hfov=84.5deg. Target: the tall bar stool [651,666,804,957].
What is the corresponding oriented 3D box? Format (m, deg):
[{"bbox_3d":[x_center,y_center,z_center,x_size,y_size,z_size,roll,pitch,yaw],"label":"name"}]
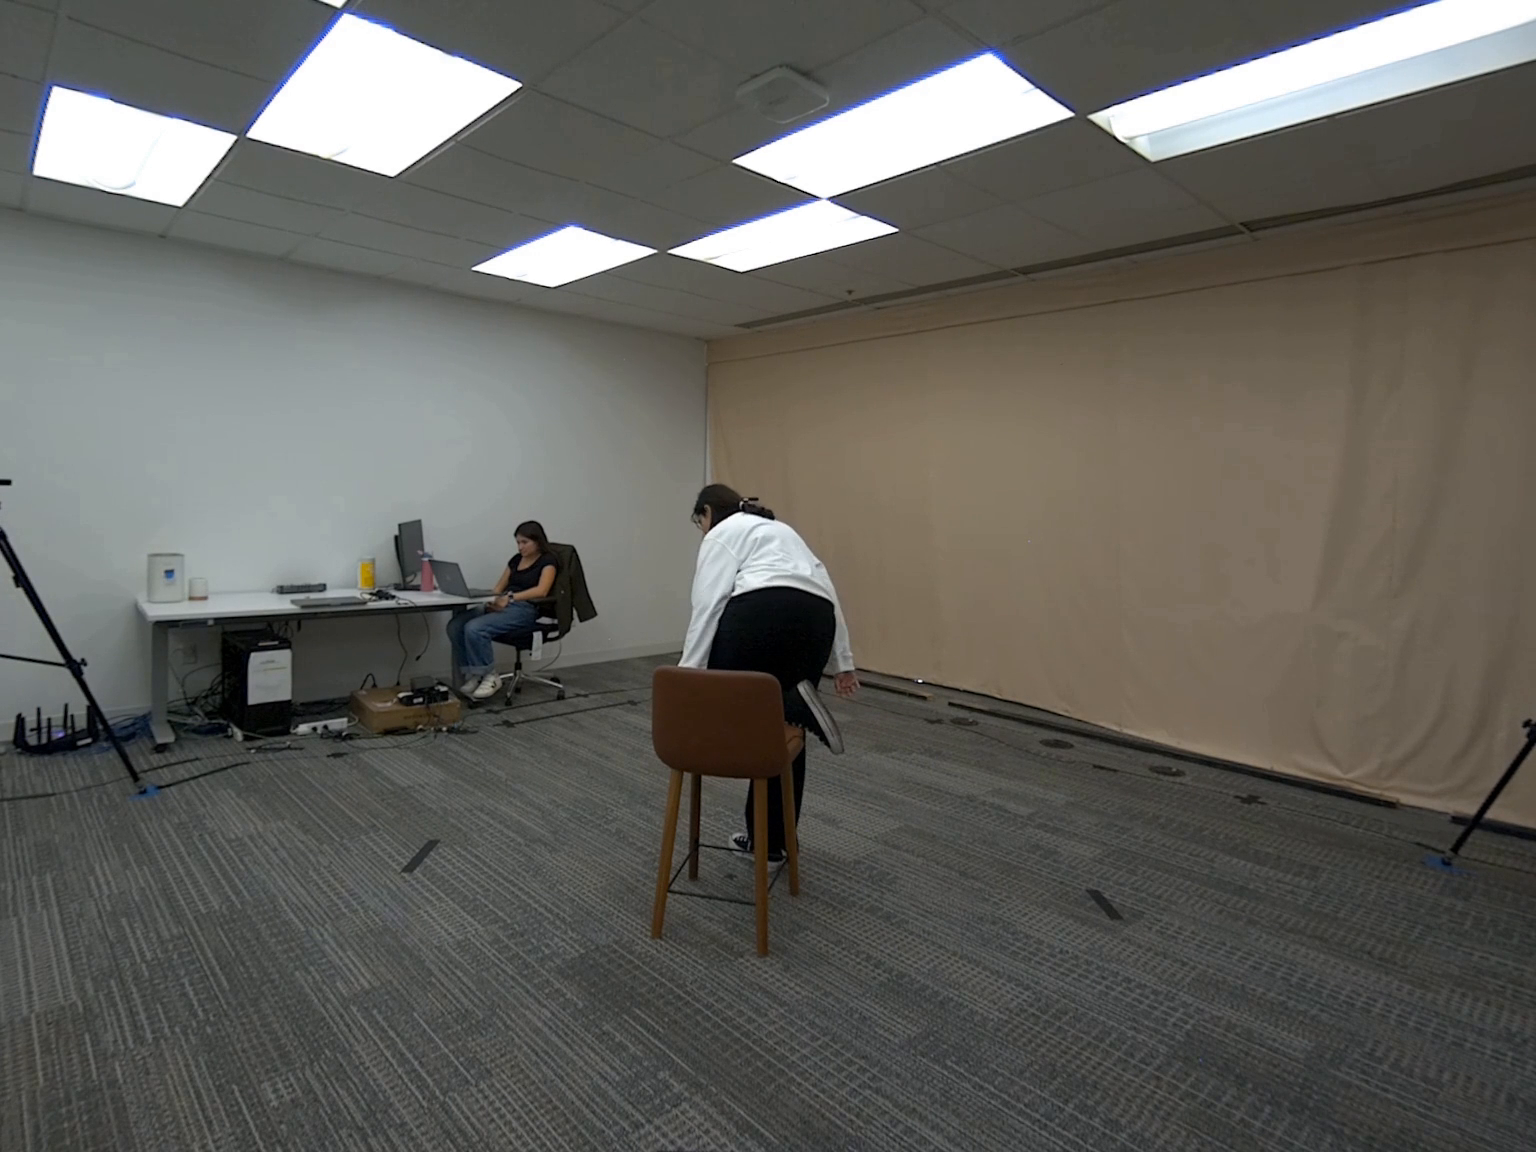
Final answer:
[{"bbox_3d":[-0.139,0.706,2.786,0.462,0.886,0.463,2,5,15],"label":"tall bar stool"}]
